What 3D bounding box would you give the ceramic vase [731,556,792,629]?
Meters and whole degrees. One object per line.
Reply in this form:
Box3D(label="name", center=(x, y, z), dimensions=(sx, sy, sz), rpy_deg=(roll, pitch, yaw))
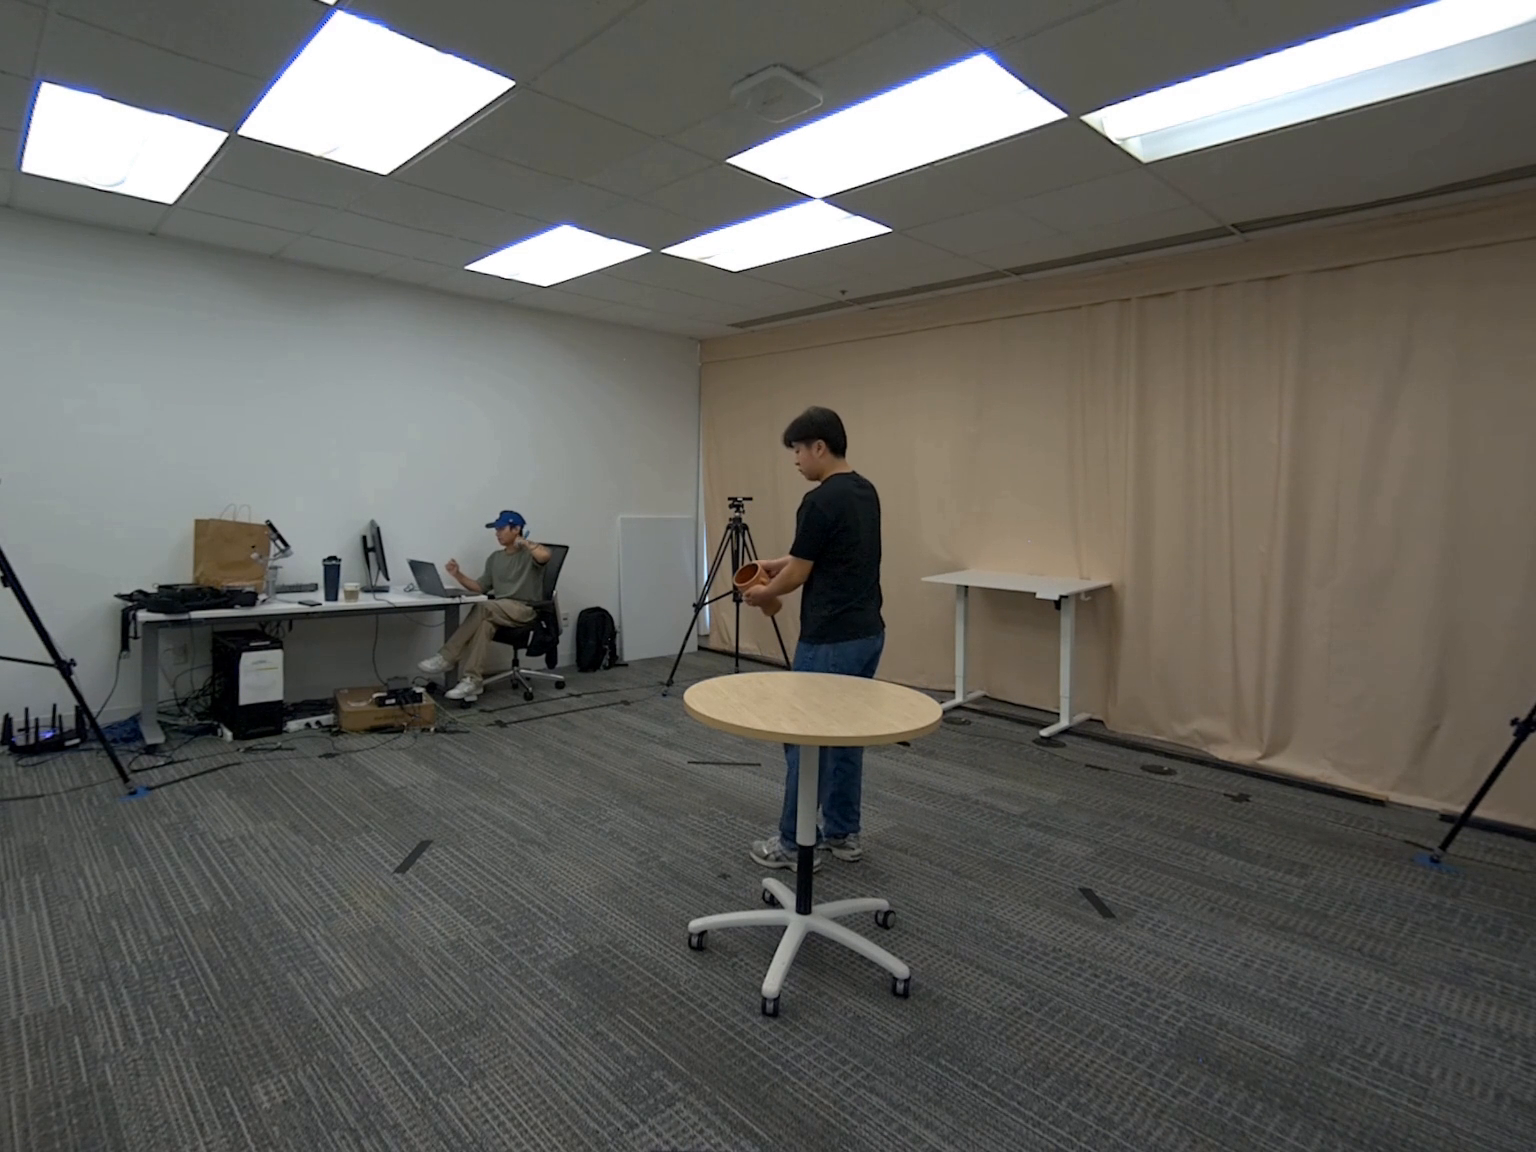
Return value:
Box3D(label="ceramic vase", center=(-0.030, 0.066, 3.533), dimensions=(0.135, 0.213, 0.163), rpy_deg=(-31, 33, 9))
